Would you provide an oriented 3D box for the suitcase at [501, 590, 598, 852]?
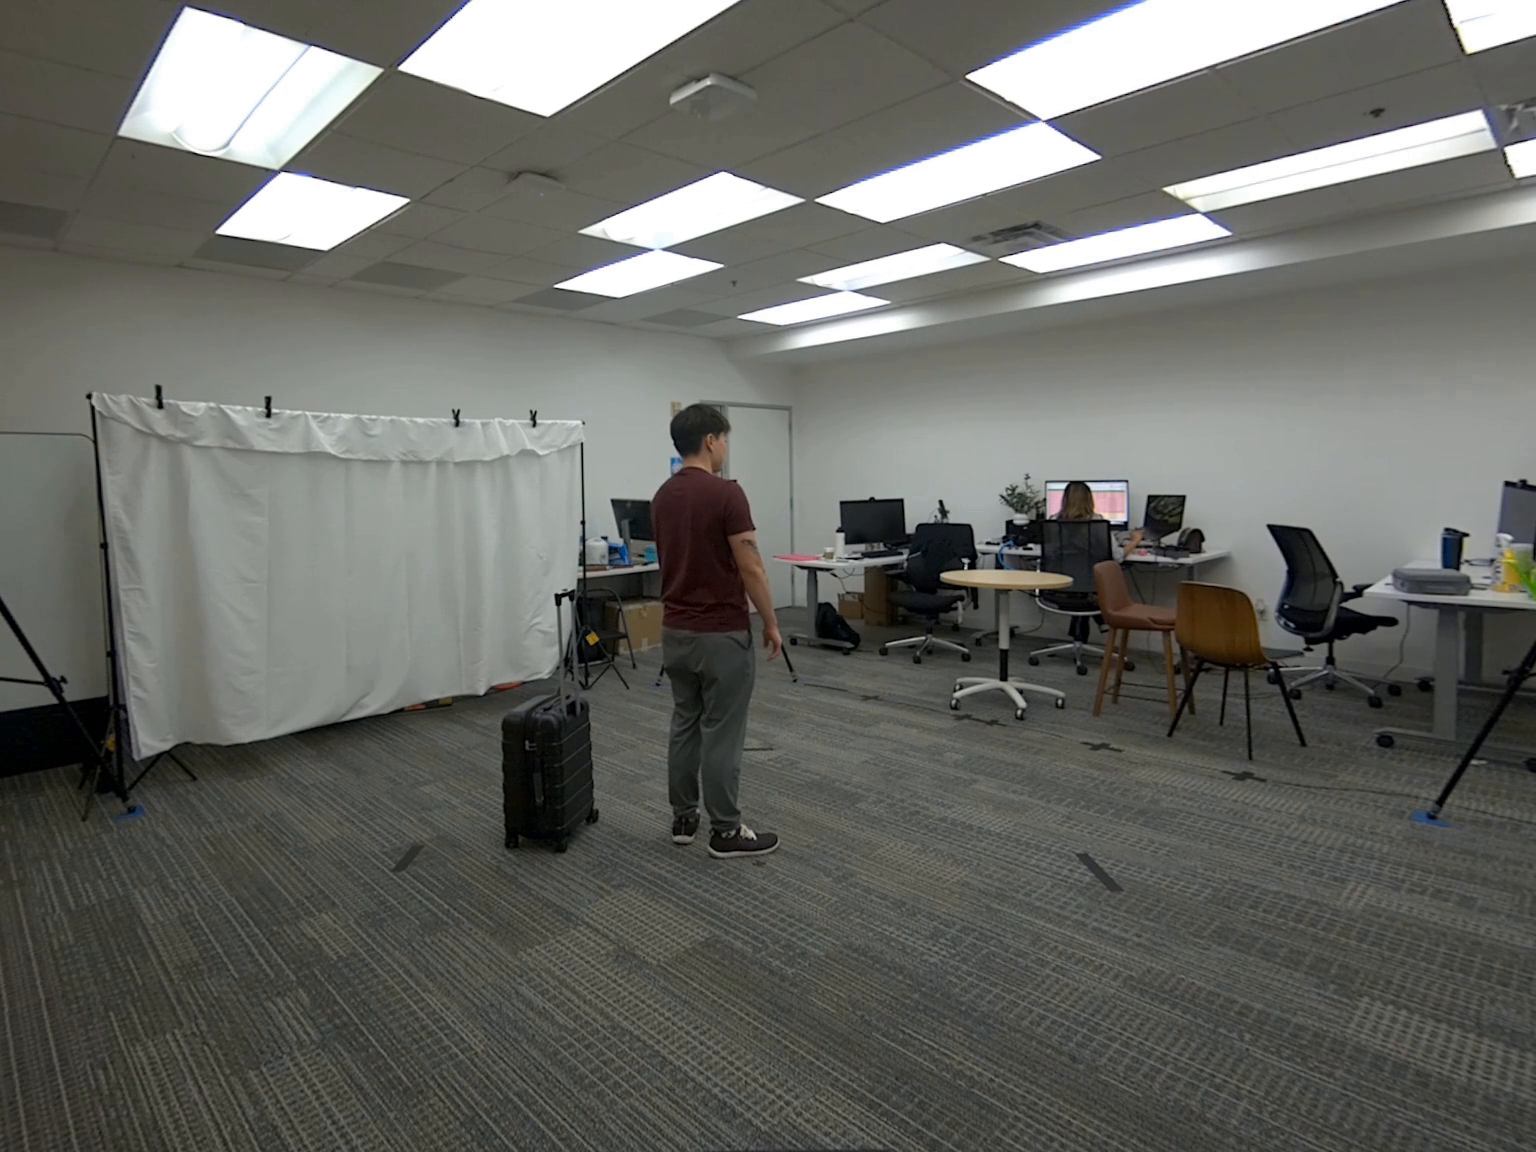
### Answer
[{"bbox_3d":[-0.874,0.559,3.368,0.260,0.975,0.381,-3,4,11],"label":"suitcase"}]
